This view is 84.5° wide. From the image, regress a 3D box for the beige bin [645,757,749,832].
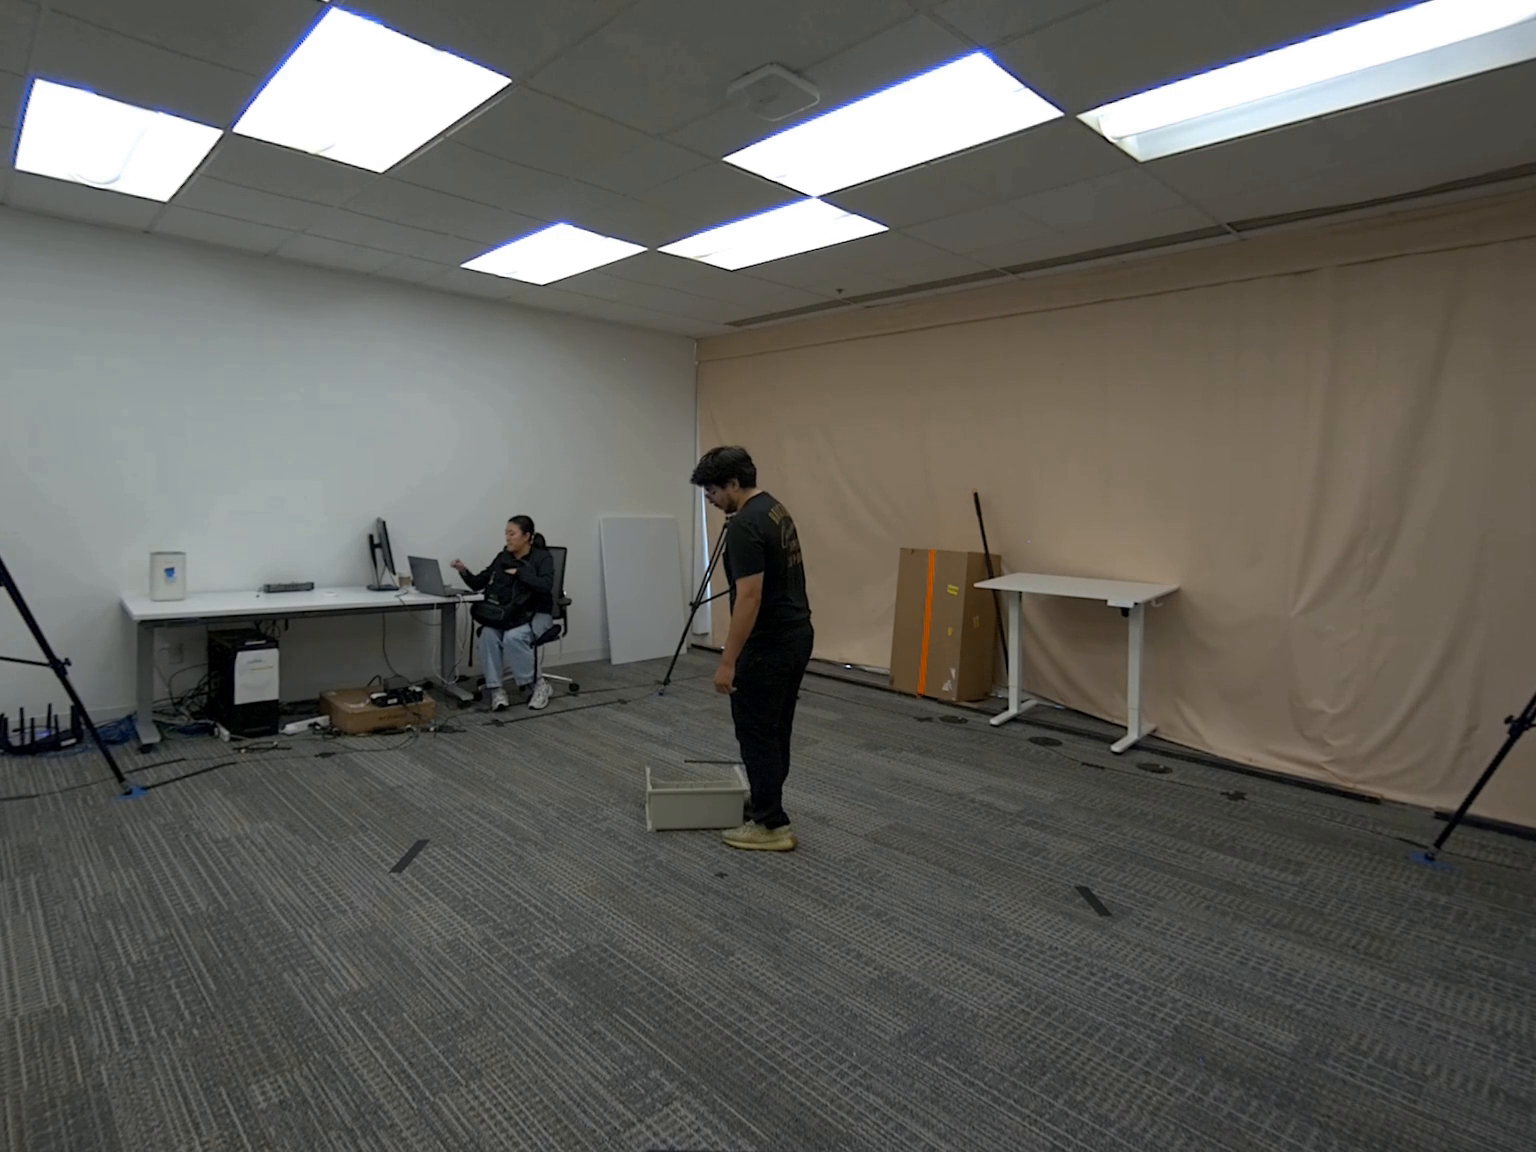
[{"bbox_3d":[-0.336,0.969,3.703,0.420,0.188,0.381,1,5,-8],"label":"beige bin"}]
